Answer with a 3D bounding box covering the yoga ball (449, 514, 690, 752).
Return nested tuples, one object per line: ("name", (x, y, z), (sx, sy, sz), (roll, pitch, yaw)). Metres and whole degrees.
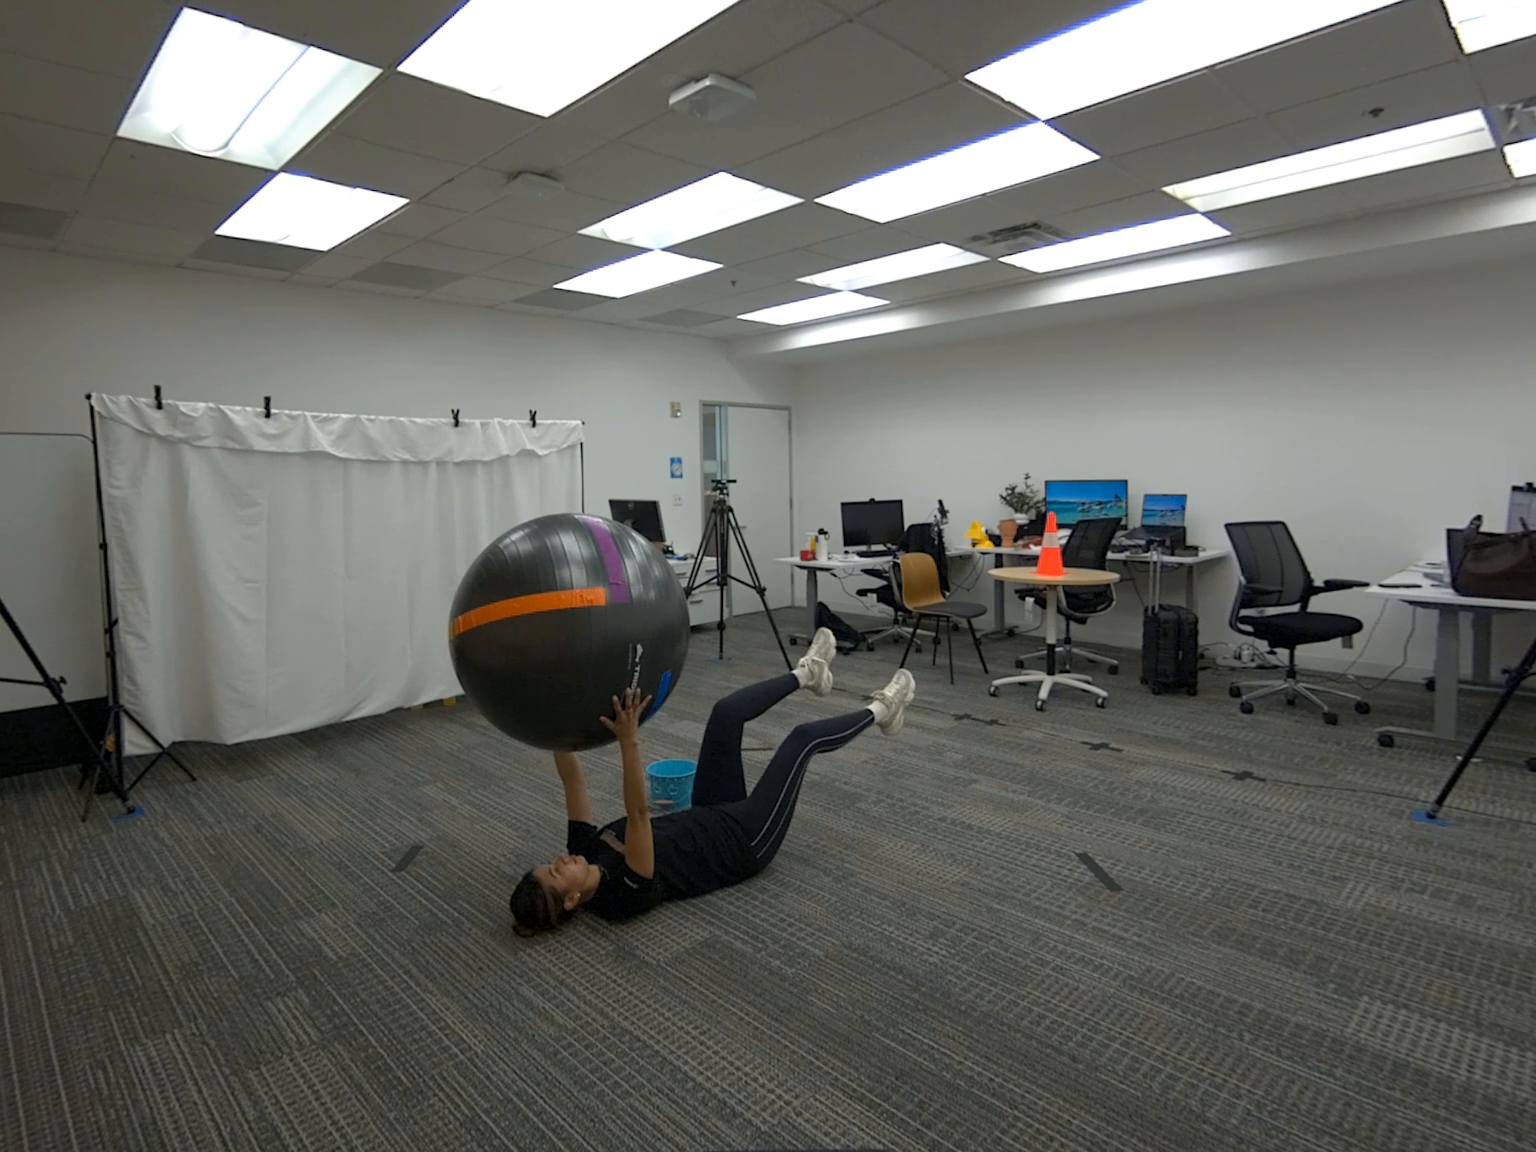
("yoga ball", (-0.629, 0.178, 2.745), (0.757, 0.757, 0.759), (0, 1, -2))
